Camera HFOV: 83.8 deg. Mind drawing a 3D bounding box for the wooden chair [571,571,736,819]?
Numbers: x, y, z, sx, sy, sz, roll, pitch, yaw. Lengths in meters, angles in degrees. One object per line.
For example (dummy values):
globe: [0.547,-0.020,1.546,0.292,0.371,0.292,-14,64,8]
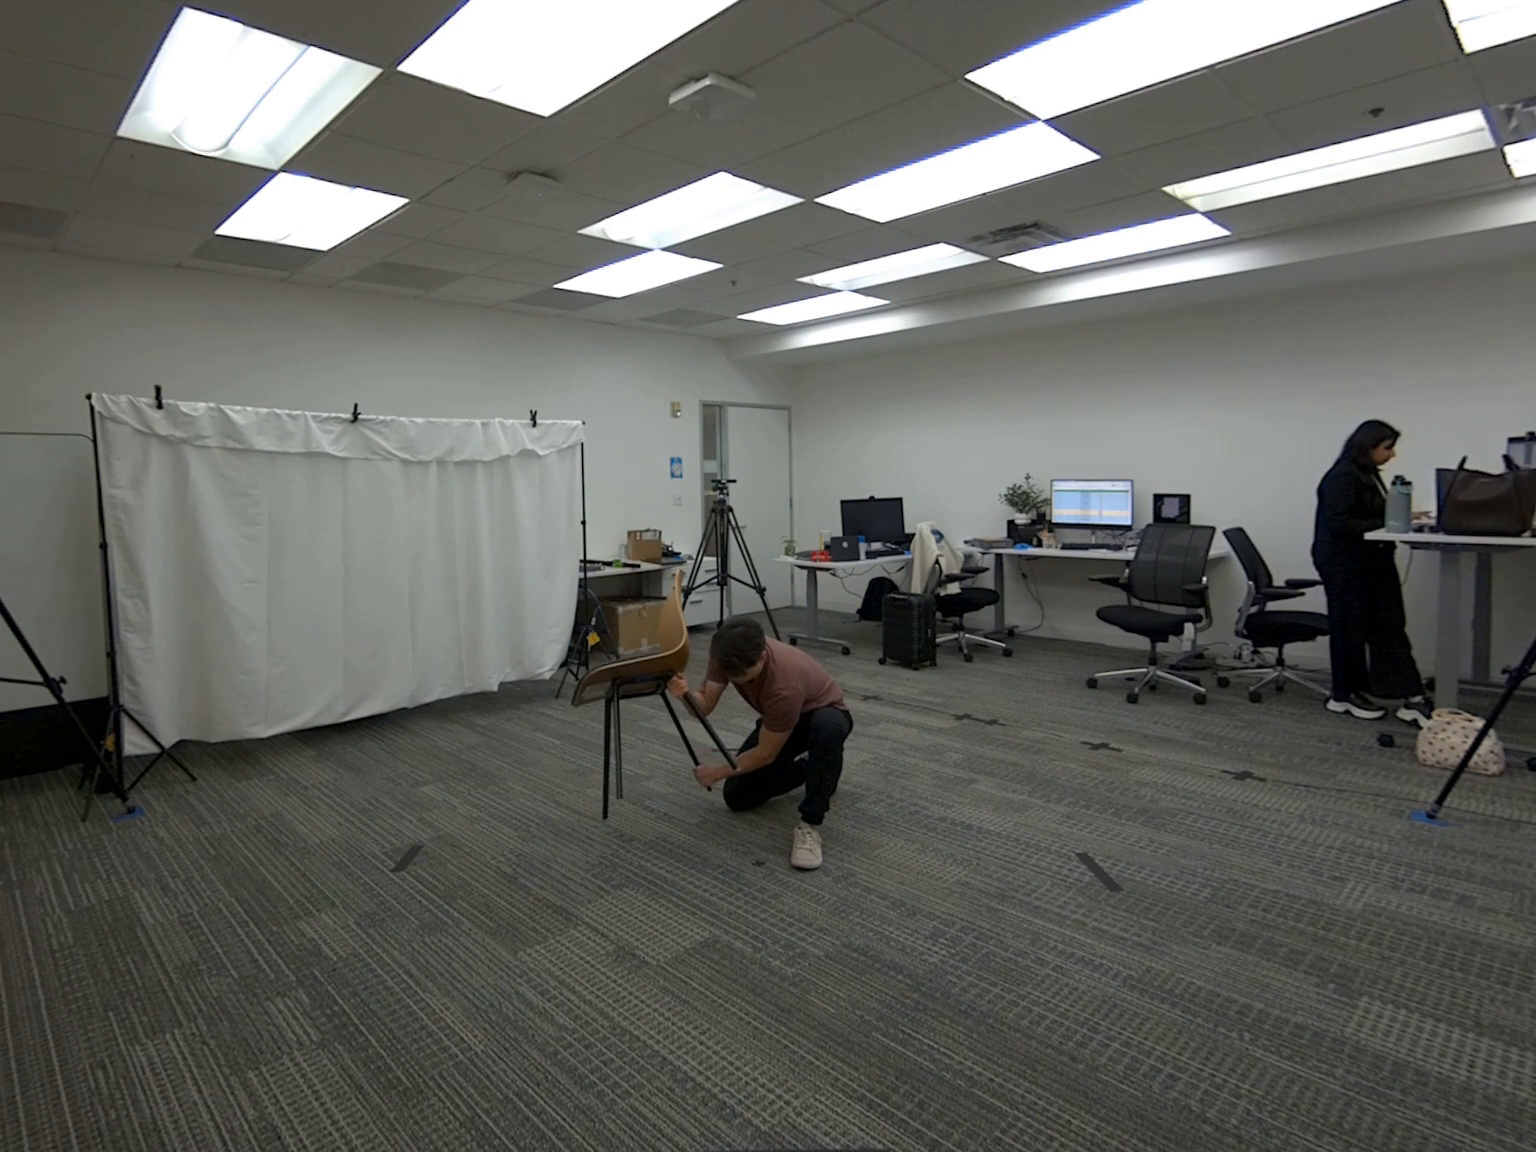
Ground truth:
wooden chair: [-0.508,0.442,3.359,0.515,0.898,0.474,-7,-23,-19]
